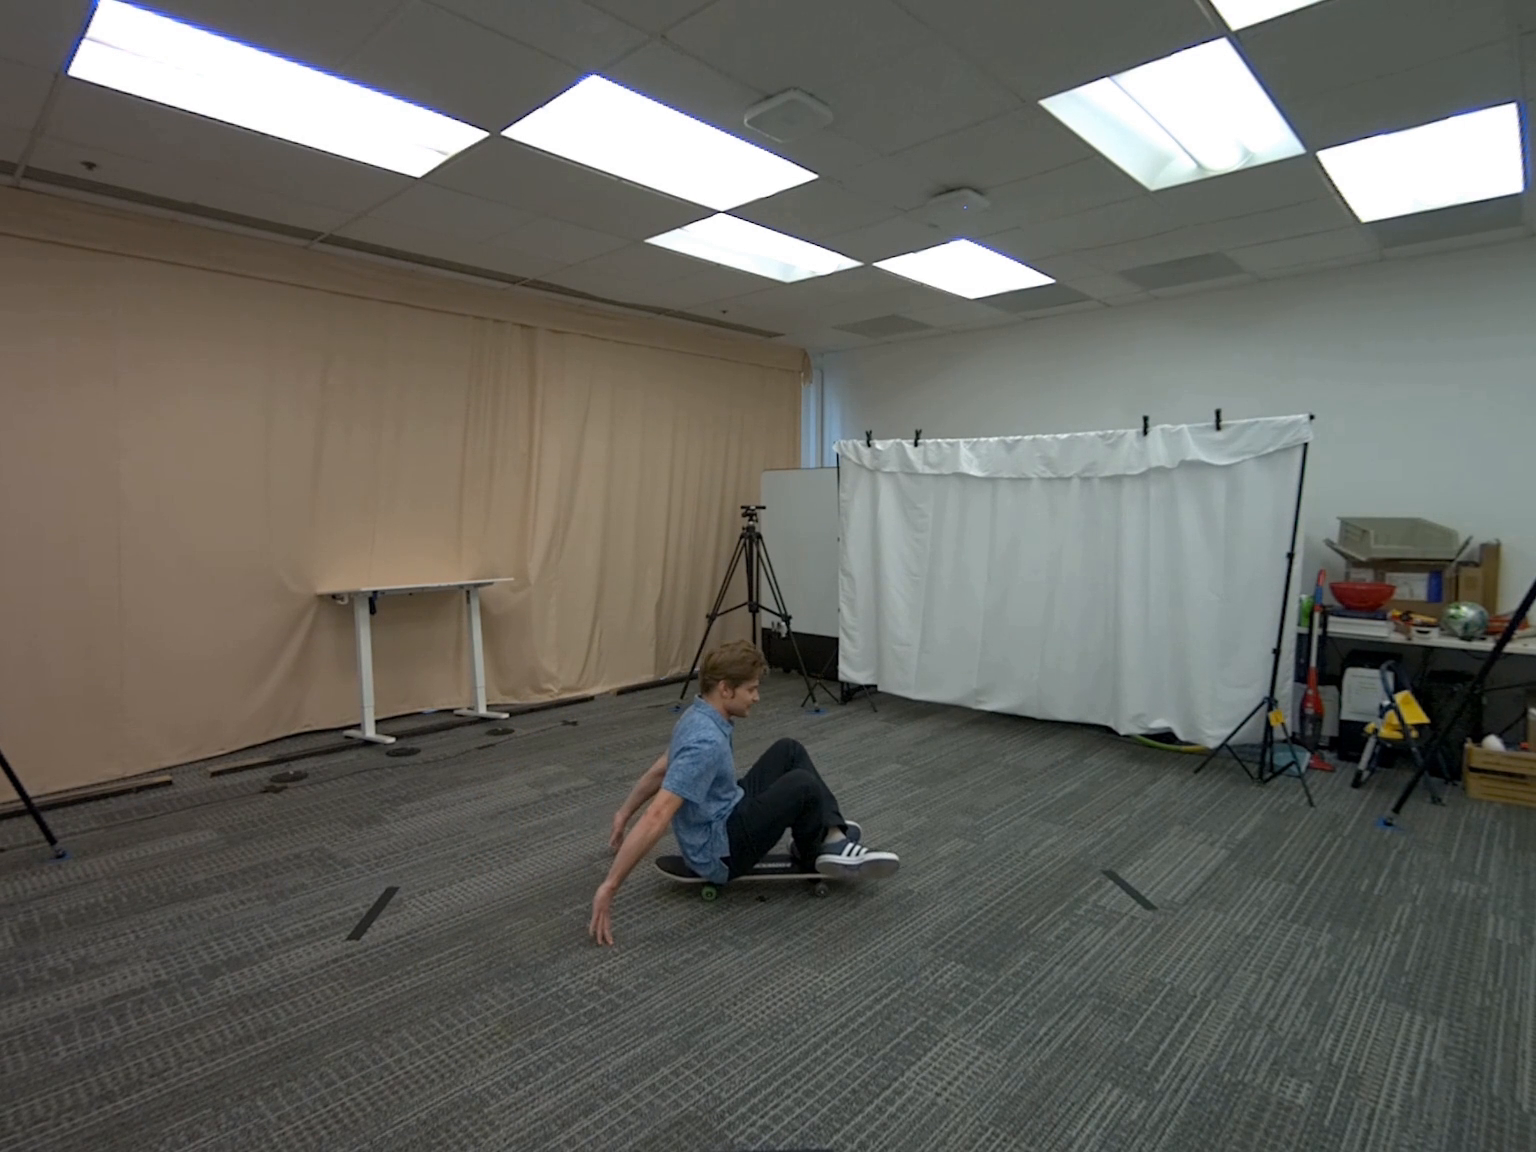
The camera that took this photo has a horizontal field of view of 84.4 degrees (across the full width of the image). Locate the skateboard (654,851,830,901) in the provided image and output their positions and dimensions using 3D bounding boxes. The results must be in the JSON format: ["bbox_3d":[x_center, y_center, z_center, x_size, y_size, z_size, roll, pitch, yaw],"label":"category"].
[{"bbox_3d":[-0.007,1.089,3.065,0.783,0.110,0.194,-1,3,-3],"label":"skateboard"}]
